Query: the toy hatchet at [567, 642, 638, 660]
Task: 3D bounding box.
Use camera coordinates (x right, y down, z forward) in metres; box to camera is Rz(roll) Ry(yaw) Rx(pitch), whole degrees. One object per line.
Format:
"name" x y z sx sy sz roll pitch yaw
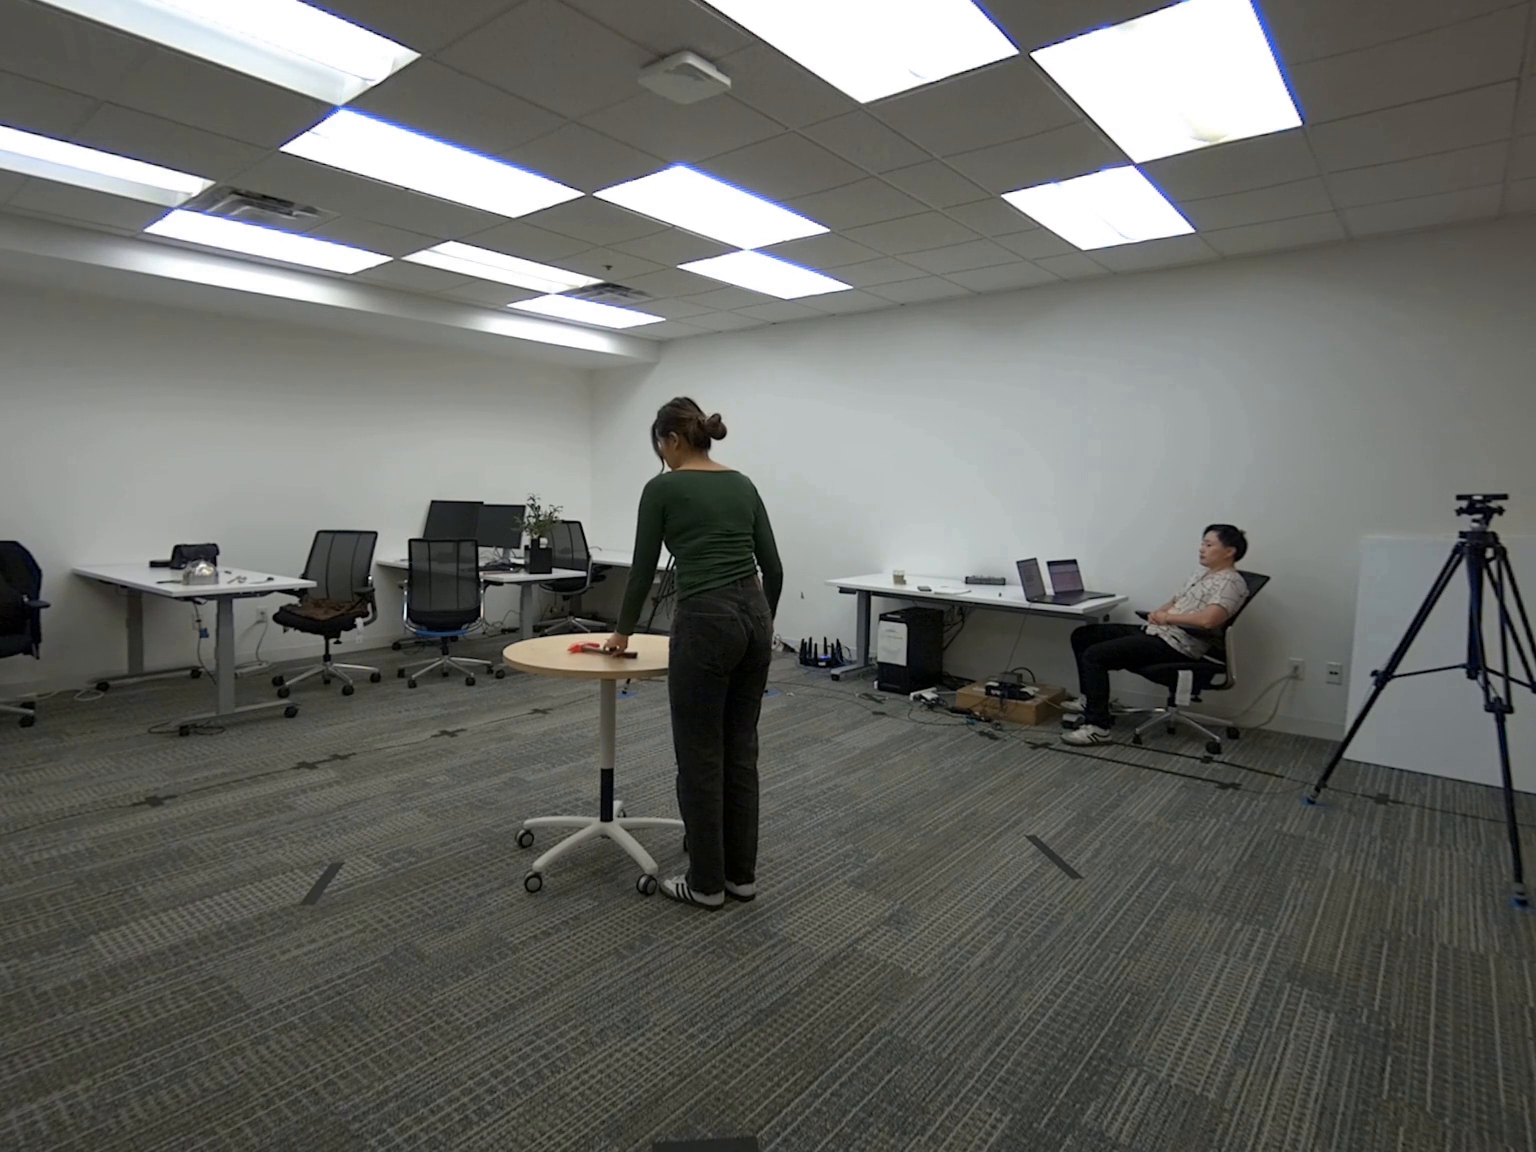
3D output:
"toy hatchet" -0.596 0.266 3.077 0.274 0.029 0.130 2 8 12
